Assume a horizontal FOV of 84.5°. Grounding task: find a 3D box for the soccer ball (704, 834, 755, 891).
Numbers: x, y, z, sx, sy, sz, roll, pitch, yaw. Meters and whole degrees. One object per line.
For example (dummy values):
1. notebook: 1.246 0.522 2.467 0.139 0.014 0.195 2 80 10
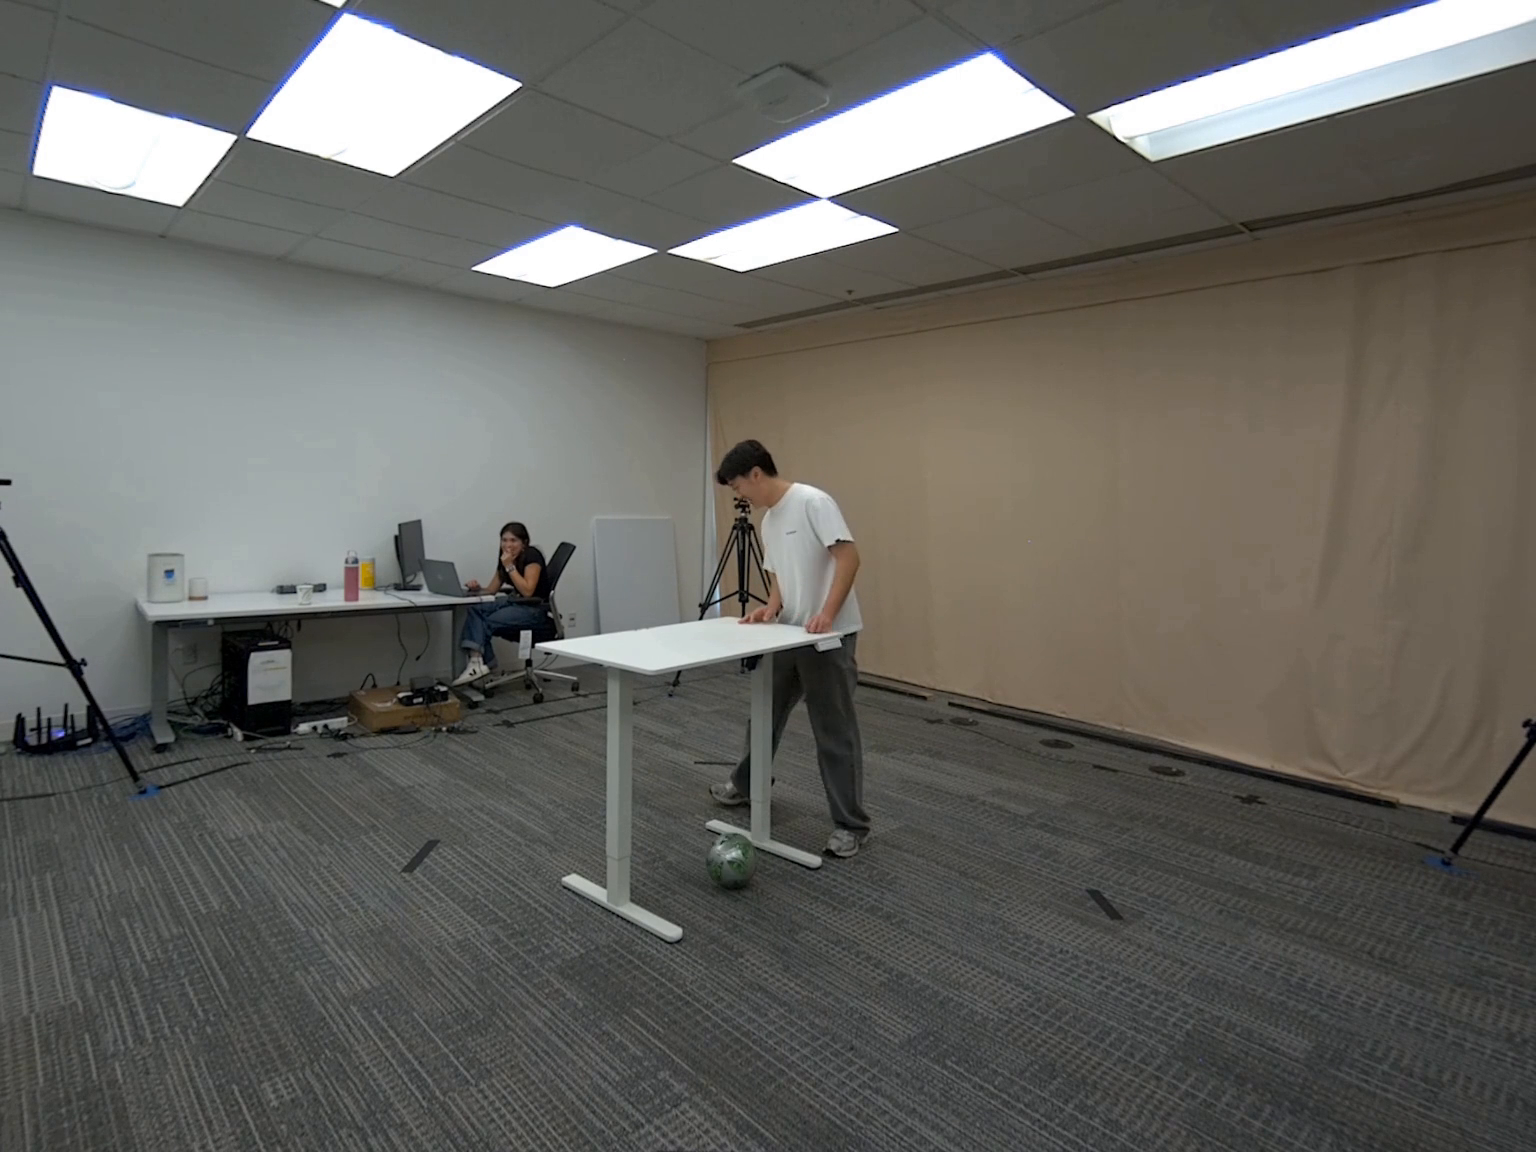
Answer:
1. soccer ball: -0.134 1.027 3.018 0.187 0.187 0.188 1 4 -1
